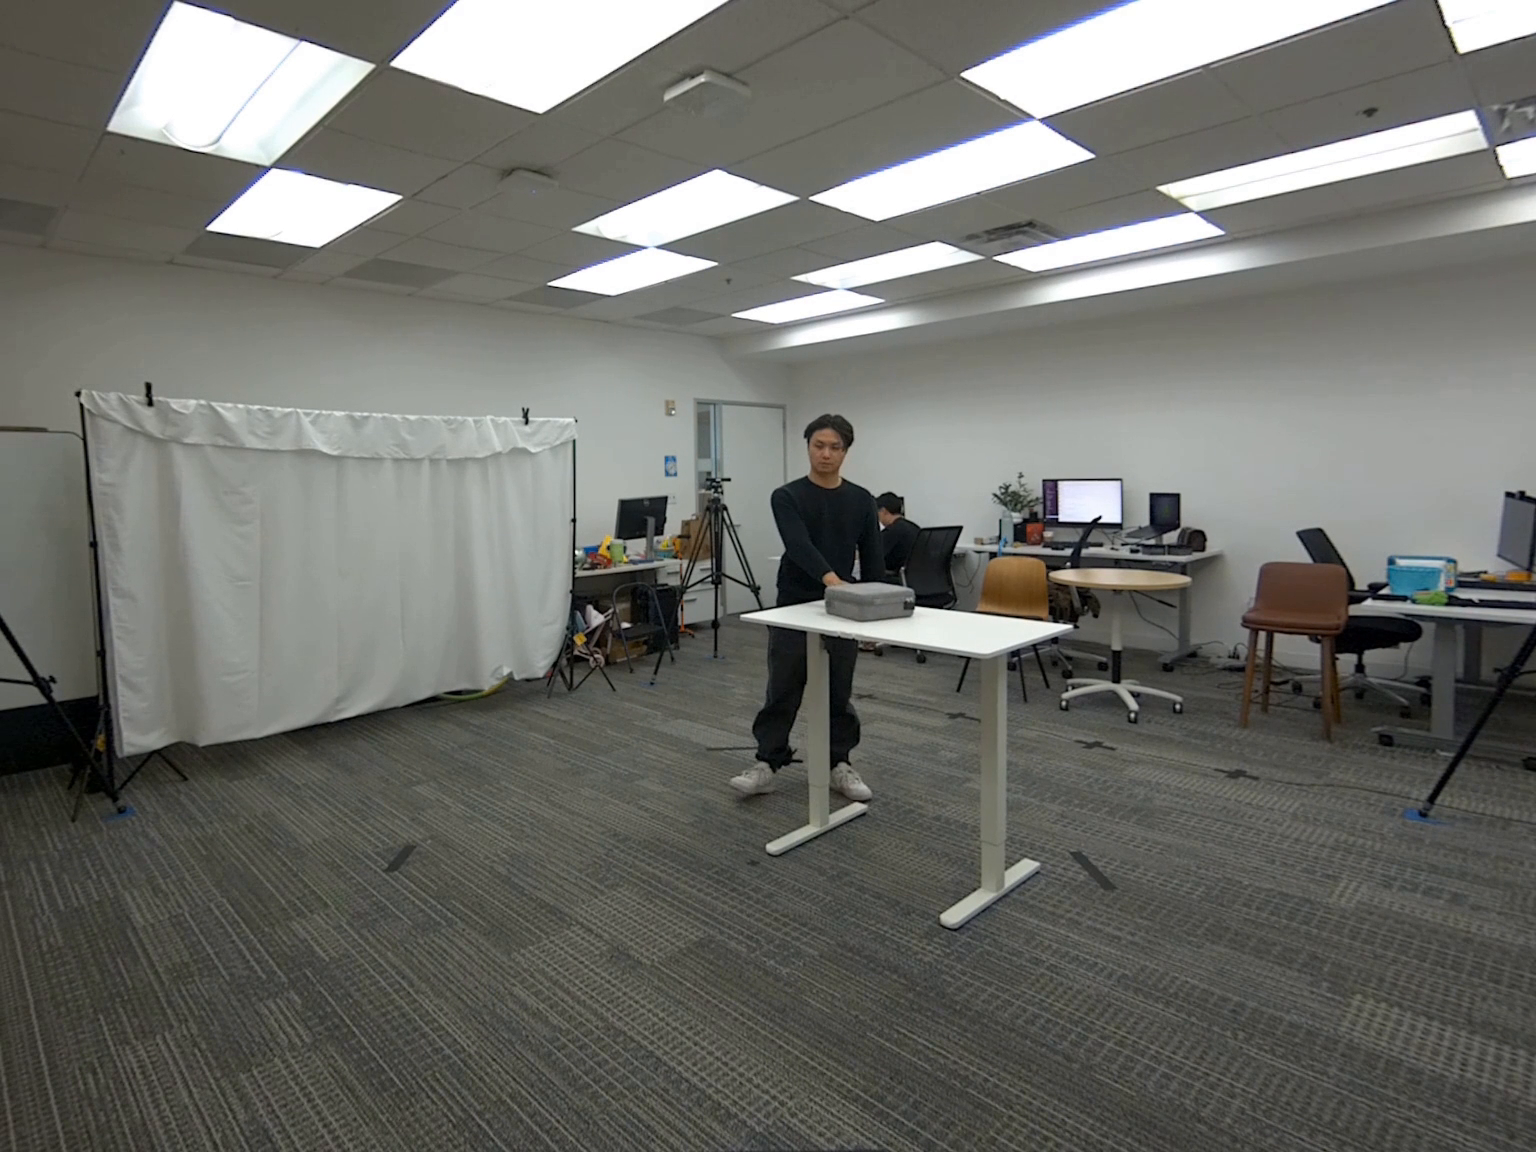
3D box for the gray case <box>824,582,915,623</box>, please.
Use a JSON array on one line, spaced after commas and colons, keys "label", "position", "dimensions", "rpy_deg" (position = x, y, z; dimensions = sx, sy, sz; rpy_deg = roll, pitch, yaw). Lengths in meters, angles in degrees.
[{"label": "gray case", "position": [0.368, 0.094, 3.159], "dimensions": [0.251, 0.104, 0.267], "rpy_deg": [-6, 8, -27]}]
